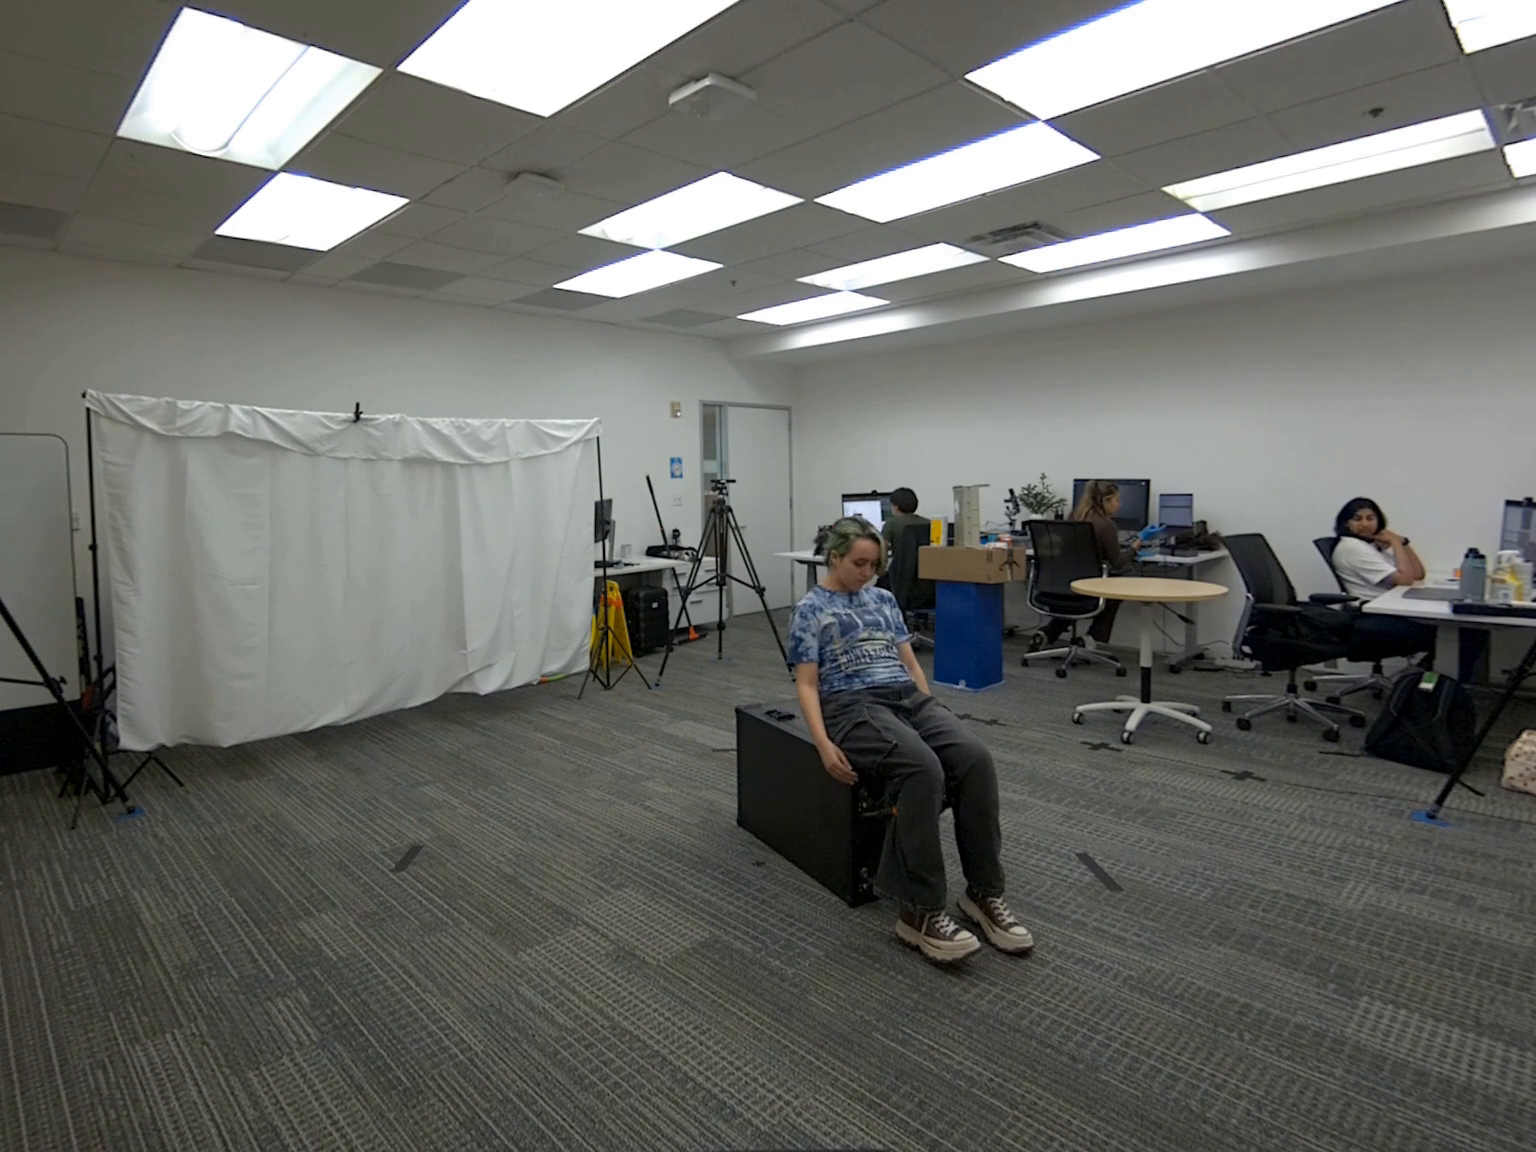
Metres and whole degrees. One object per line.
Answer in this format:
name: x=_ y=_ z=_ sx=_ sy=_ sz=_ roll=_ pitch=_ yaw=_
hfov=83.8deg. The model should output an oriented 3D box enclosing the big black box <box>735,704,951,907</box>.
big black box: x=0.245 y=0.795 z=3.164 sx=0.387 sy=0.519 sz=0.885 roll=-4 pitch=7 yaw=-28
